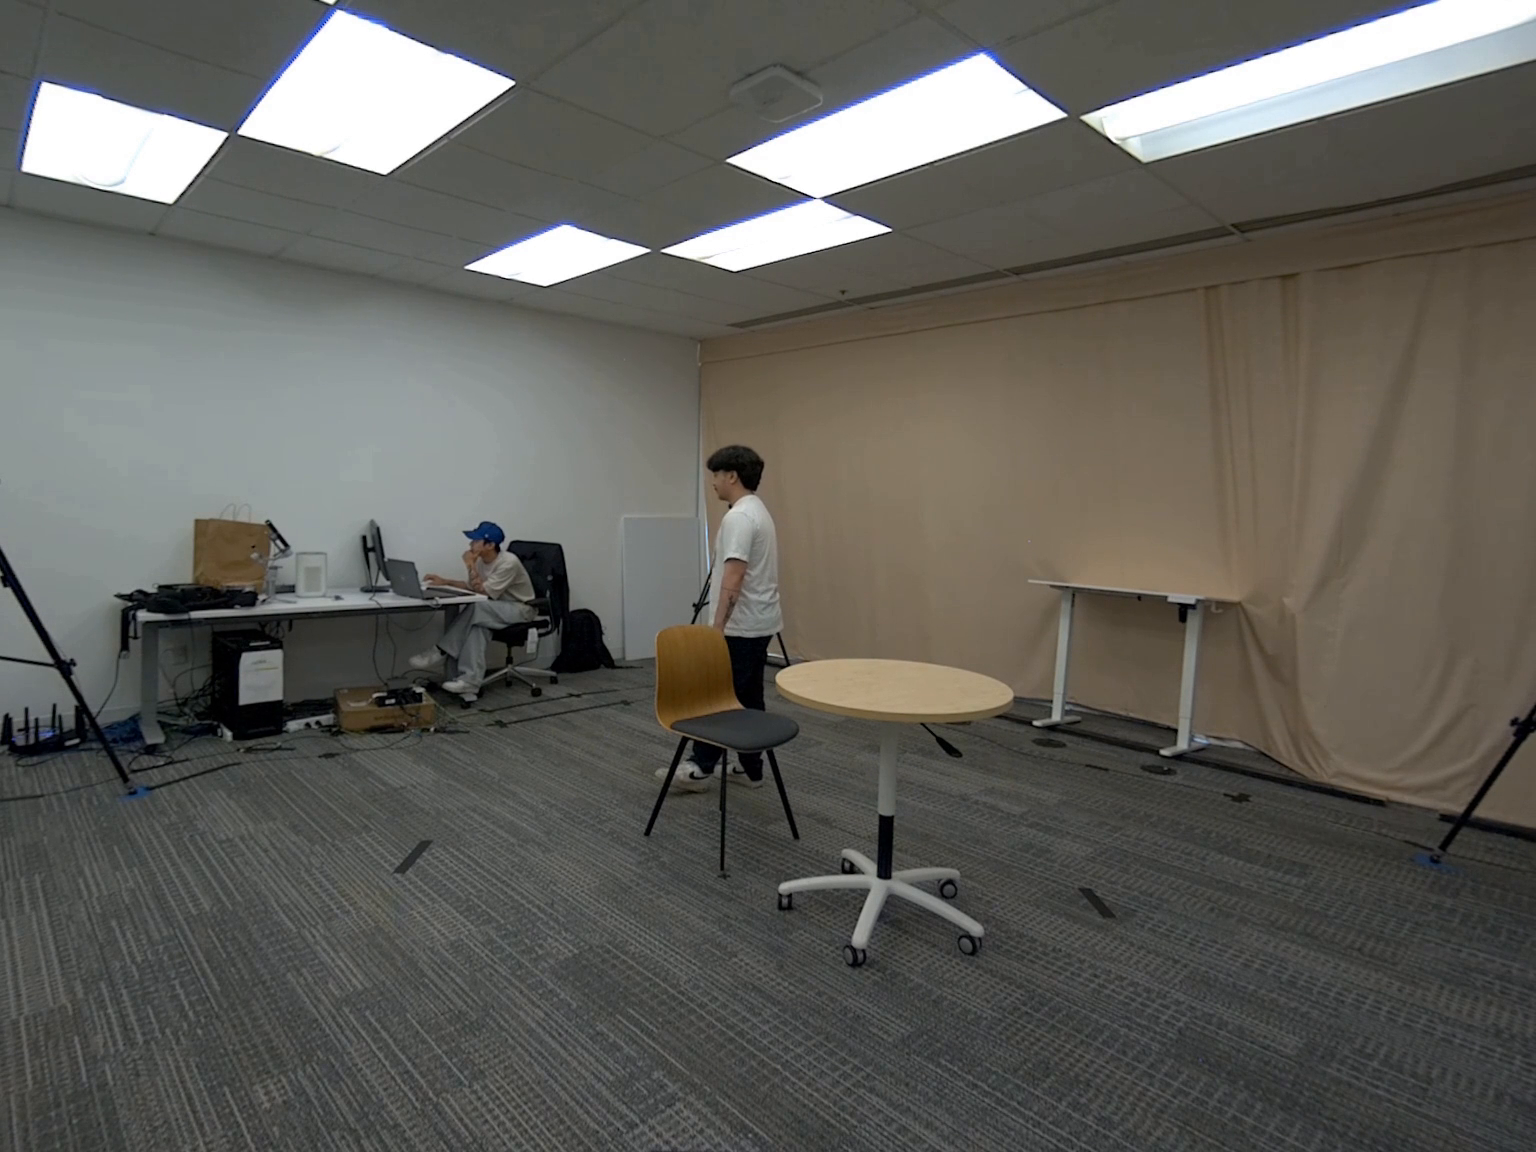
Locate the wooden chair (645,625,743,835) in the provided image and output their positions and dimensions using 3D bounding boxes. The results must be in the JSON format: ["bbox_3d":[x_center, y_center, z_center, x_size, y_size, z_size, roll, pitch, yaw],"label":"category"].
[{"bbox_3d":[-0.183,0.651,3.426,0.535,0.878,0.467,-2,0,43],"label":"wooden chair"}]
